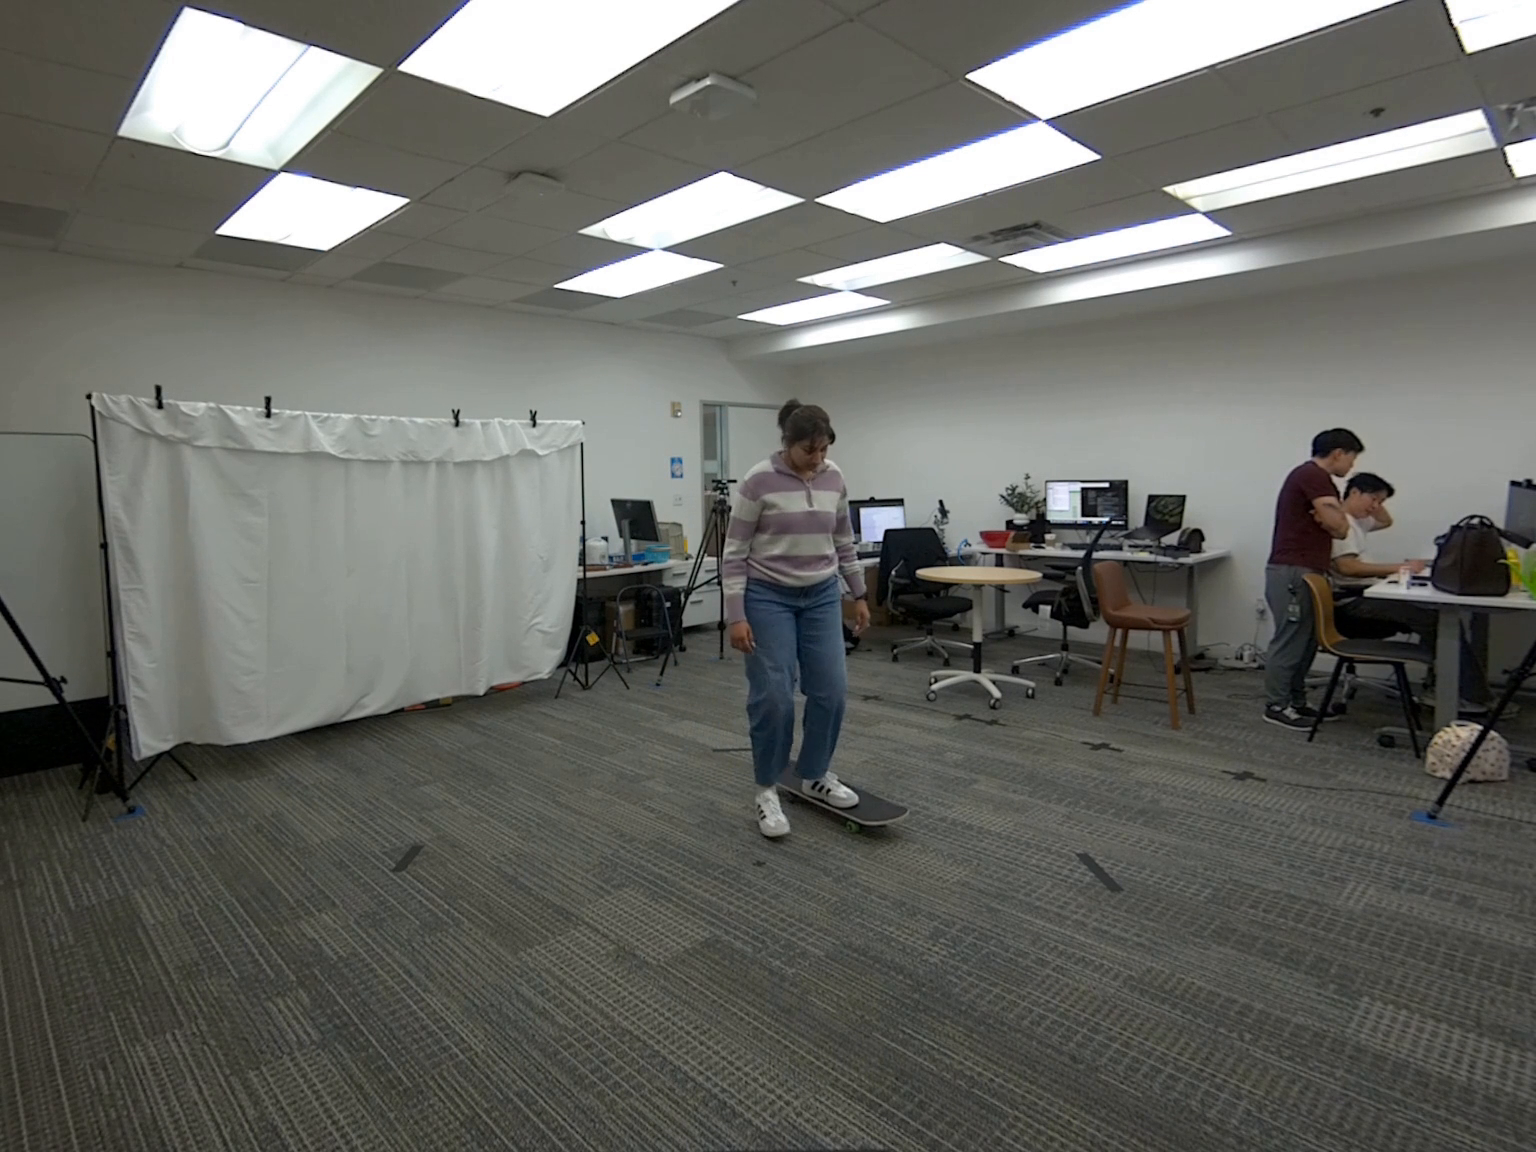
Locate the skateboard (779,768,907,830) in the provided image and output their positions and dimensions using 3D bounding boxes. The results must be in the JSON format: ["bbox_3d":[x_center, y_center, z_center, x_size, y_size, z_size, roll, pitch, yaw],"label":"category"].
[{"bbox_3d":[0.284,0.937,3.564,0.189,0.109,0.808,-12,11,-33],"label":"skateboard"}]
